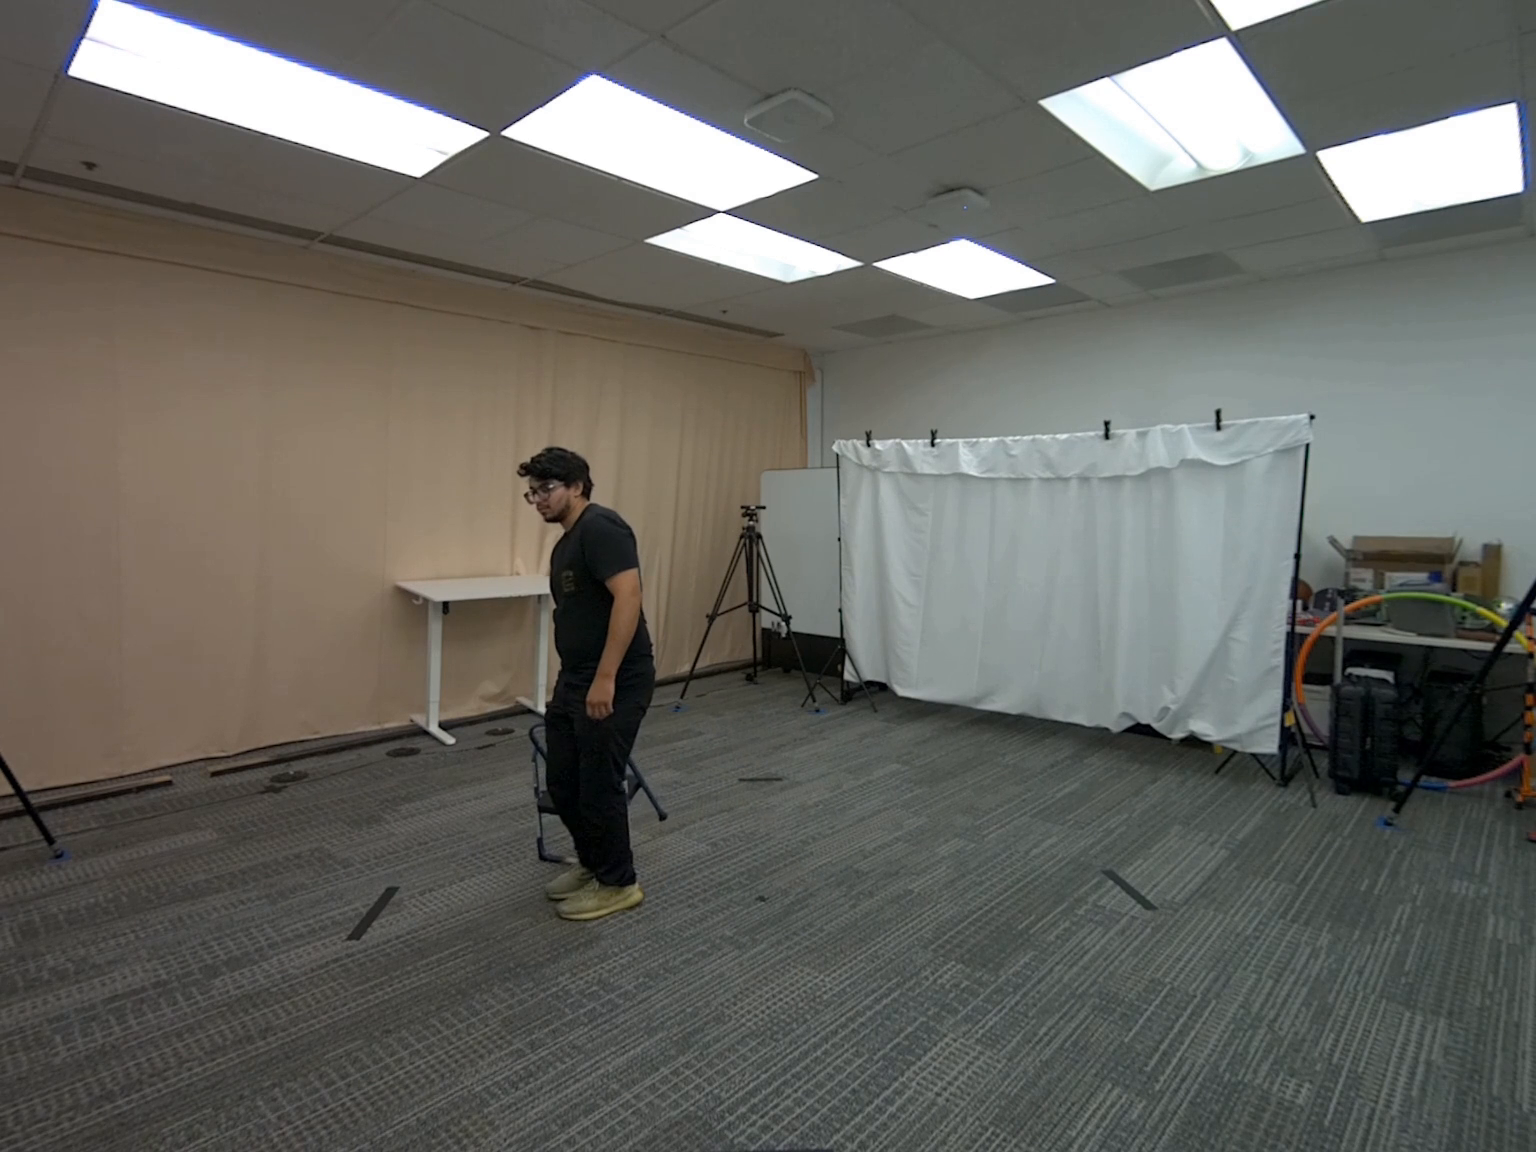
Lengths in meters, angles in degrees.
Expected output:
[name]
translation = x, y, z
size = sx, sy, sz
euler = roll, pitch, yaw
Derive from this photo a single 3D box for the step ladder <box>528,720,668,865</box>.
[step ladder]
translation = -0.710, 0.788, 3.285
size = 0.439, 0.596, 0.348
euler = 1, 25, 18
